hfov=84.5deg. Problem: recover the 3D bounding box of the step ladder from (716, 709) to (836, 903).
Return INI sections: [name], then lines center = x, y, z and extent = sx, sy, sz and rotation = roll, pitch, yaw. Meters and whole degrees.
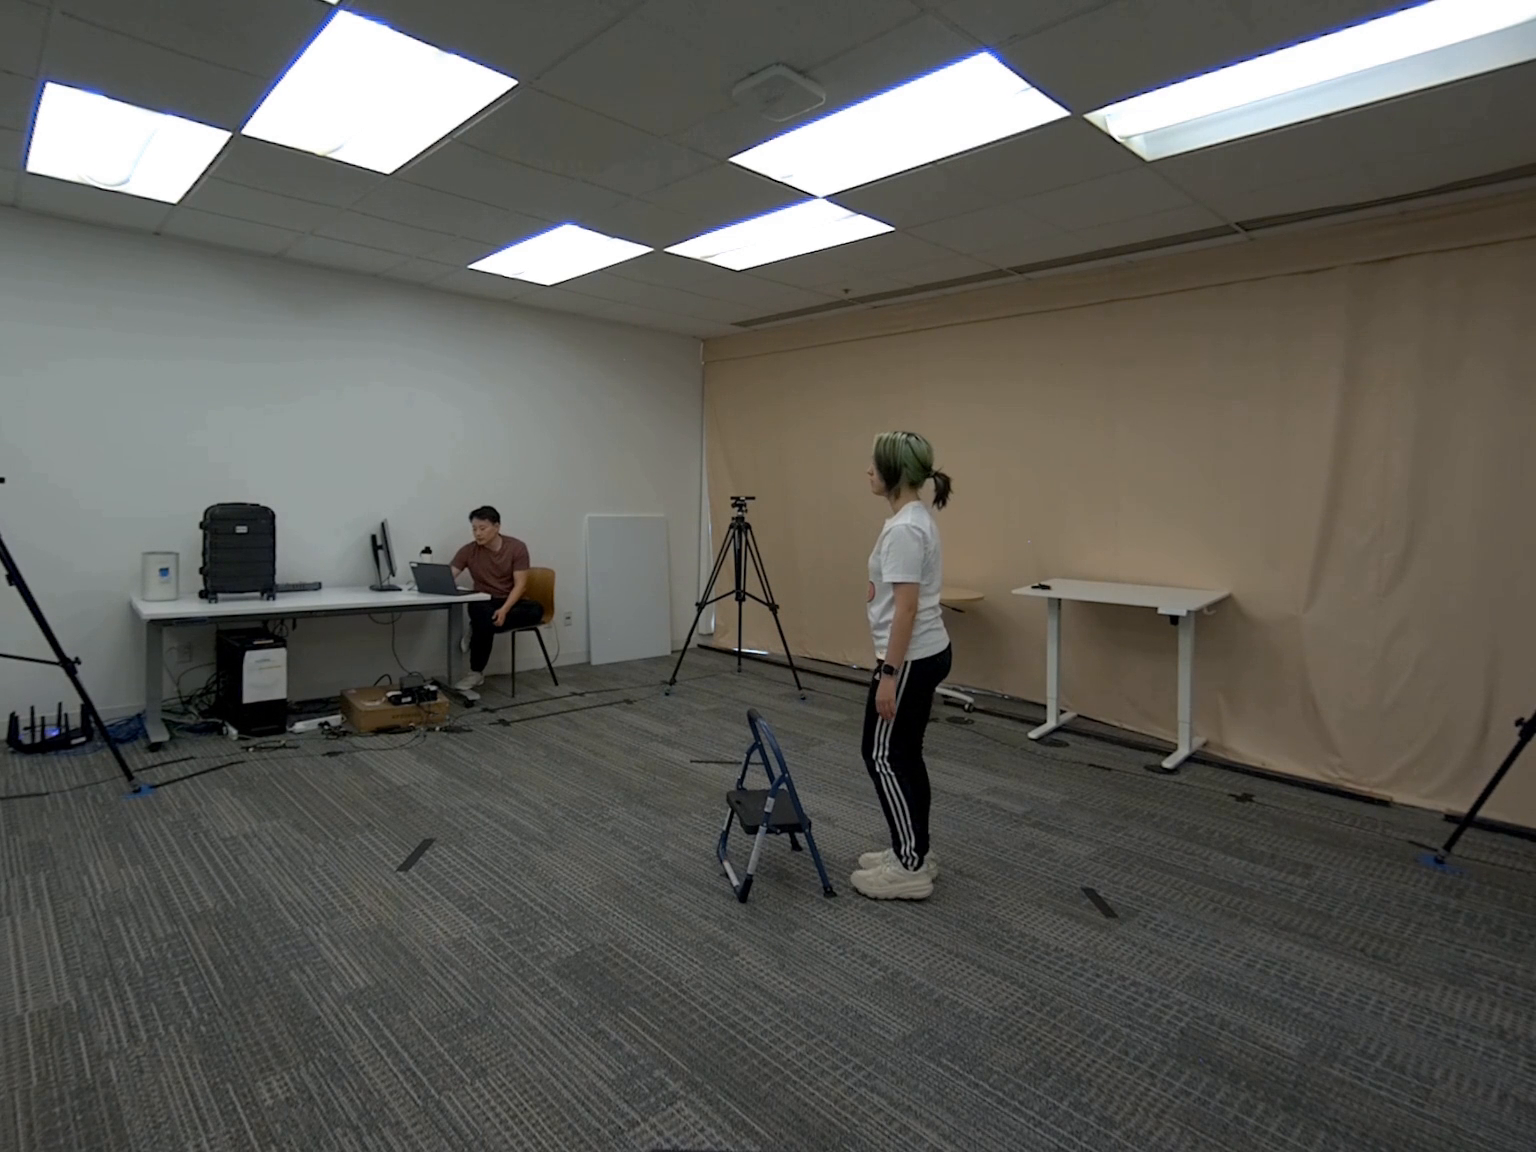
[step ladder]
center = 0.019, 0.807, 3.107
extent = 0.345, 0.605, 0.436
rotation = 1, 3, -15
